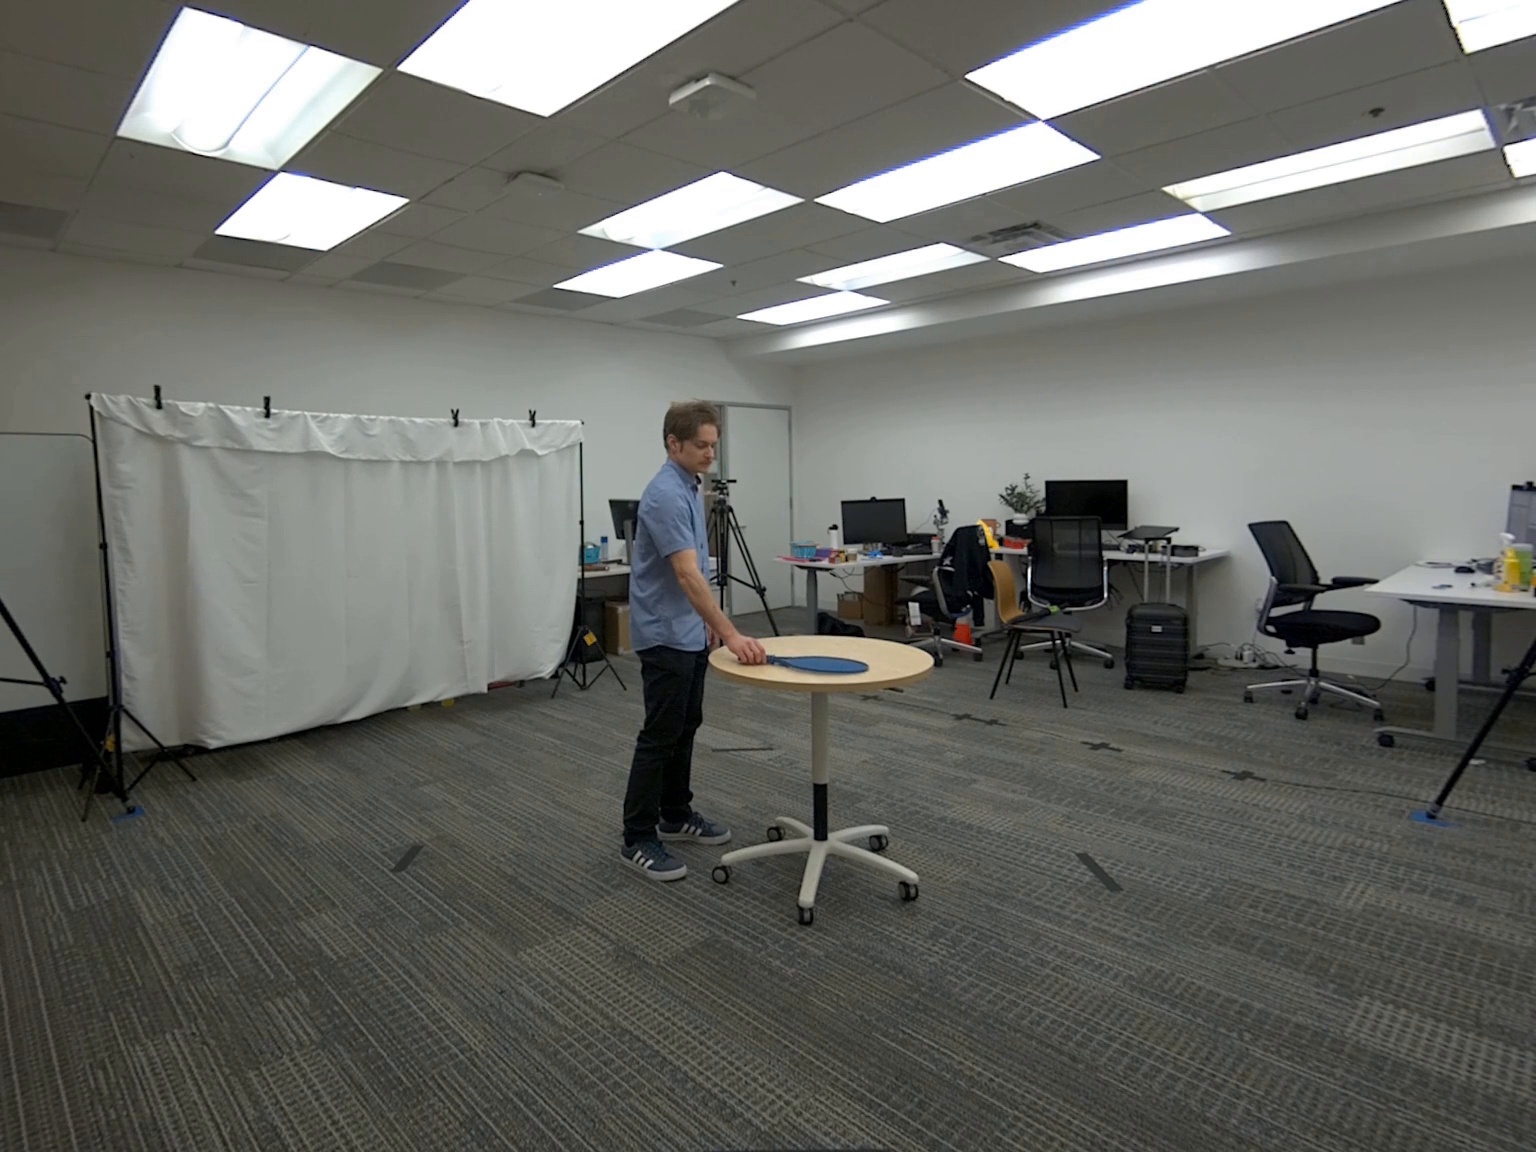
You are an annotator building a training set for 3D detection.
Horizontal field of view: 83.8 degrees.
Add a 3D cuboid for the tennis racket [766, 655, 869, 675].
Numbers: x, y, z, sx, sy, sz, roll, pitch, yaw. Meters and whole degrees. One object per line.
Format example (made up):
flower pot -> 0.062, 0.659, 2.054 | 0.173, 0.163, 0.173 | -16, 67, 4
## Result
tennis racket -> 0.116, 0.283, 2.809 | 0.440, 0.031, 0.211 | 3, 5, 17
